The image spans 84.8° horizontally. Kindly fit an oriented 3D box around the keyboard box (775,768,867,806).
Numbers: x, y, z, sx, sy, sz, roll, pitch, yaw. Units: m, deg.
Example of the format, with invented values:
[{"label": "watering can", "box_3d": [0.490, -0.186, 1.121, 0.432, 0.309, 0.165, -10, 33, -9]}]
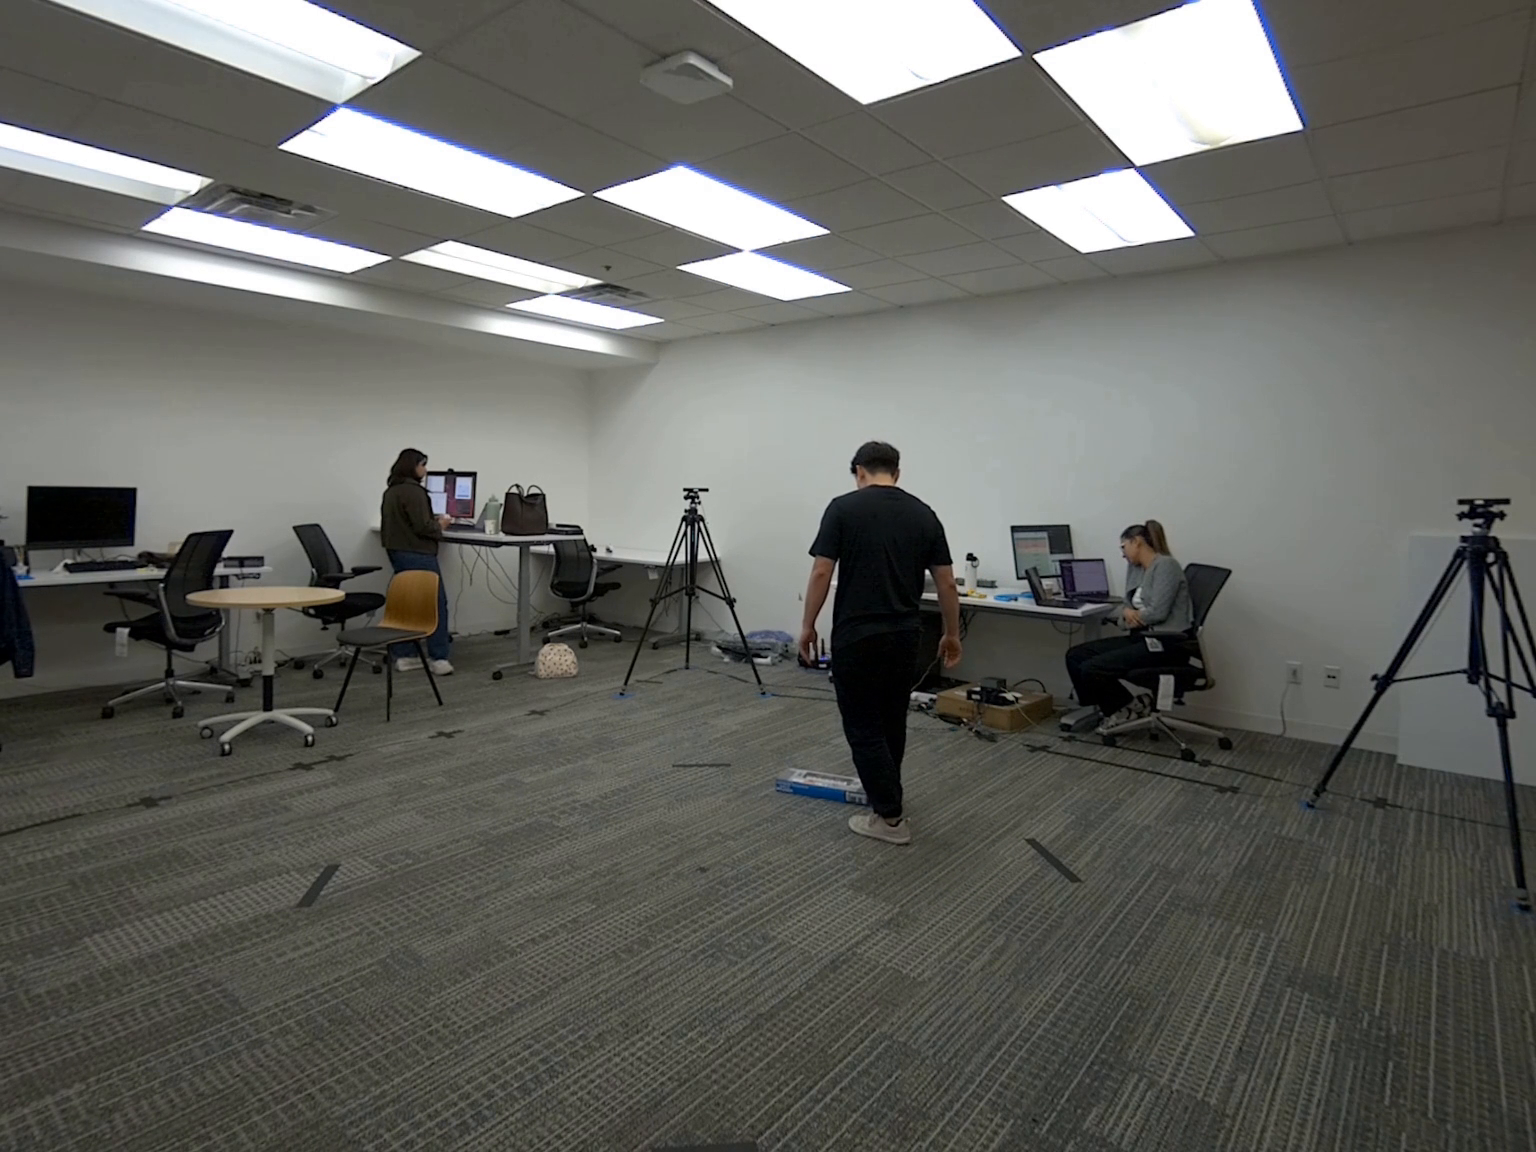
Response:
[{"label": "keyboard box", "box_3d": [0.266, 0.971, 3.932, 0.447, 0.059, 0.172, 4, 7, 23]}]
